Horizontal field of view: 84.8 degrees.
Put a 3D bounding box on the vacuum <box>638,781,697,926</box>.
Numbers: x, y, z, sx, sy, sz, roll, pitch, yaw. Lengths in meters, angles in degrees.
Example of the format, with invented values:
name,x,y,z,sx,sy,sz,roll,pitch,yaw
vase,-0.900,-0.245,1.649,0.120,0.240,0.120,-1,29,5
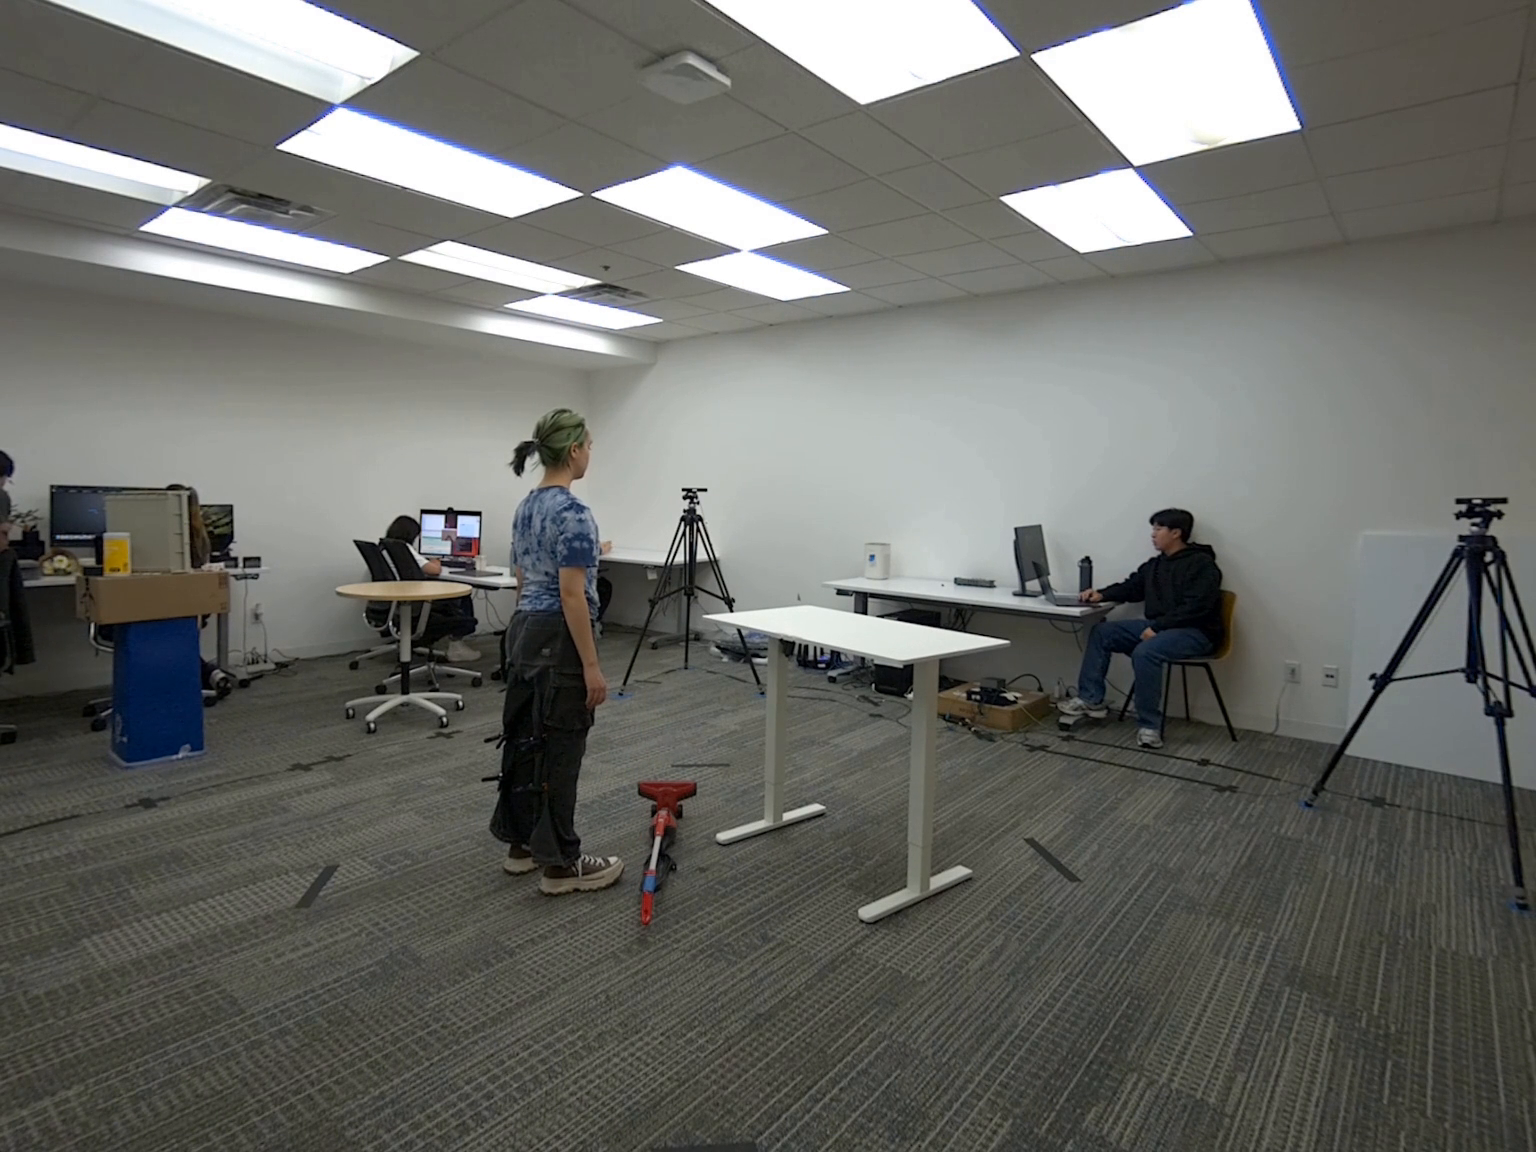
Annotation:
name,x,y,z,sx,sy,sz,roll,pitch,yaw
vacuum,-0.402,1.004,3.106,0.252,0.143,1.058,0,7,-5
